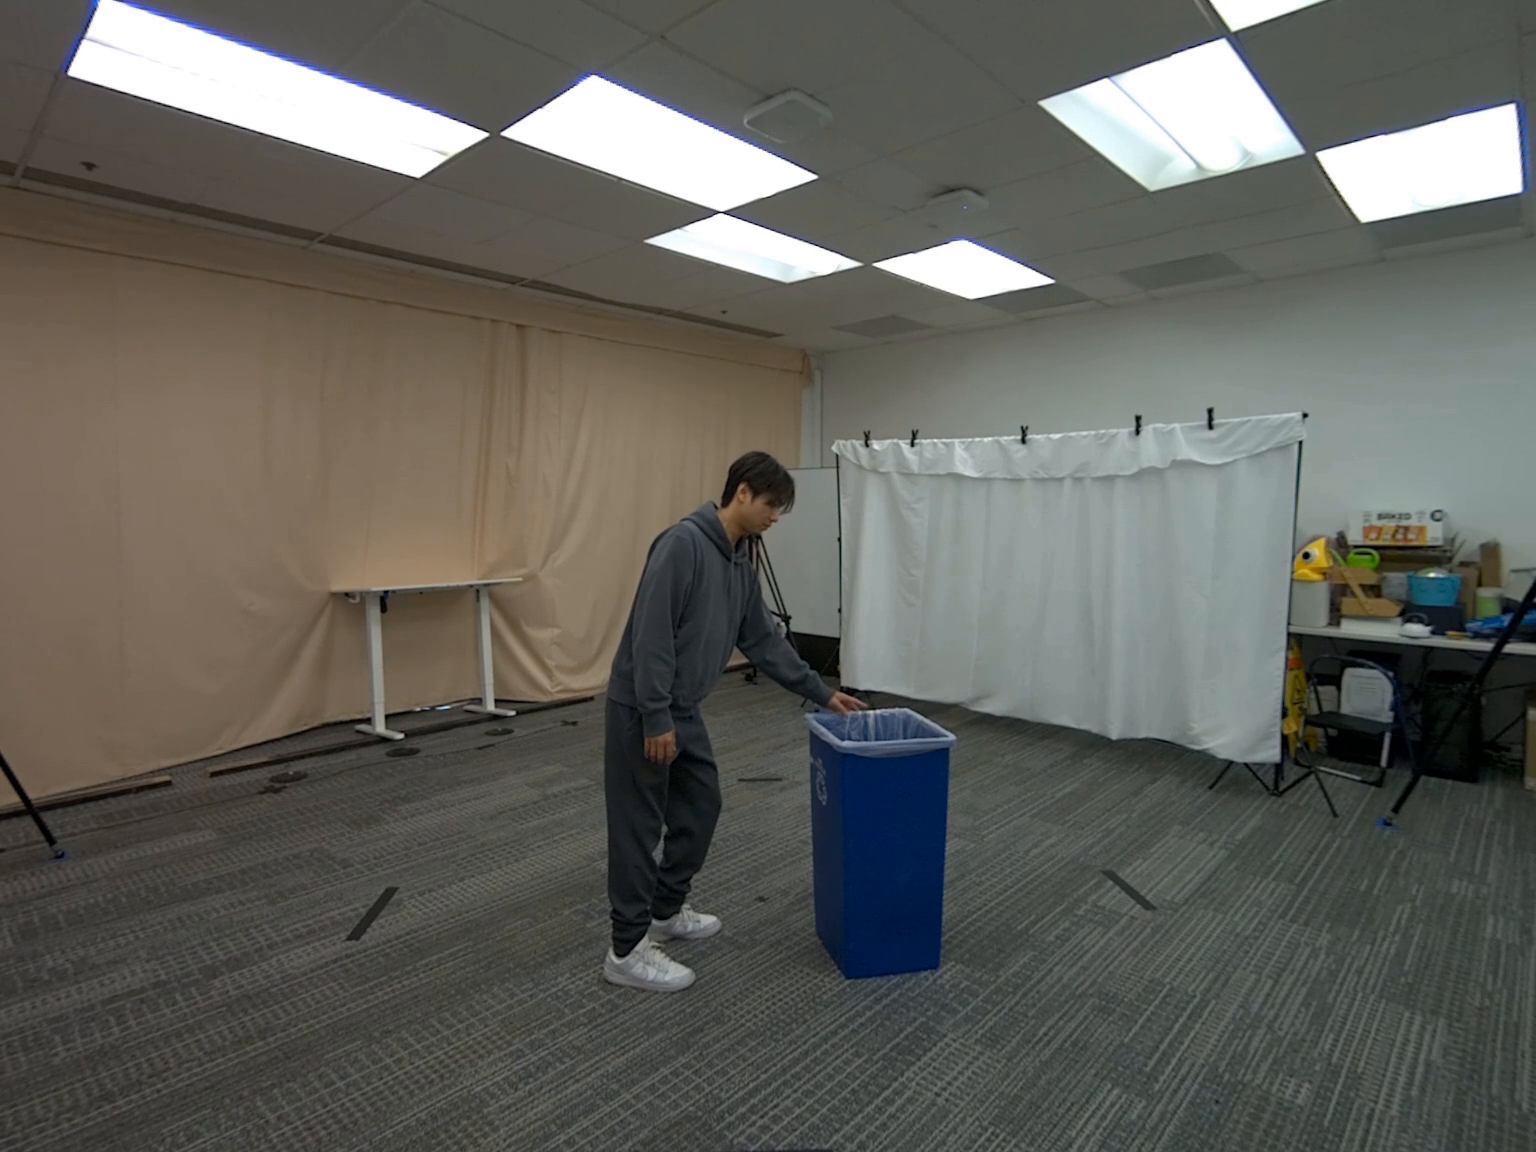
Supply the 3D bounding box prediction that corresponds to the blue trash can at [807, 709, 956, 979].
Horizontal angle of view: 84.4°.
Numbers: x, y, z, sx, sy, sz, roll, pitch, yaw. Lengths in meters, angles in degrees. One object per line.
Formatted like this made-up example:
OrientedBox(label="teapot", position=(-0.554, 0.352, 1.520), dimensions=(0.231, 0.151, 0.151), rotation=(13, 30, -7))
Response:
OrientedBox(label="blue trash can", position=(0.348, 0.823, 2.616), dimensions=(0.373, 0.712, 0.380), rotation=(0, 3, -13))
